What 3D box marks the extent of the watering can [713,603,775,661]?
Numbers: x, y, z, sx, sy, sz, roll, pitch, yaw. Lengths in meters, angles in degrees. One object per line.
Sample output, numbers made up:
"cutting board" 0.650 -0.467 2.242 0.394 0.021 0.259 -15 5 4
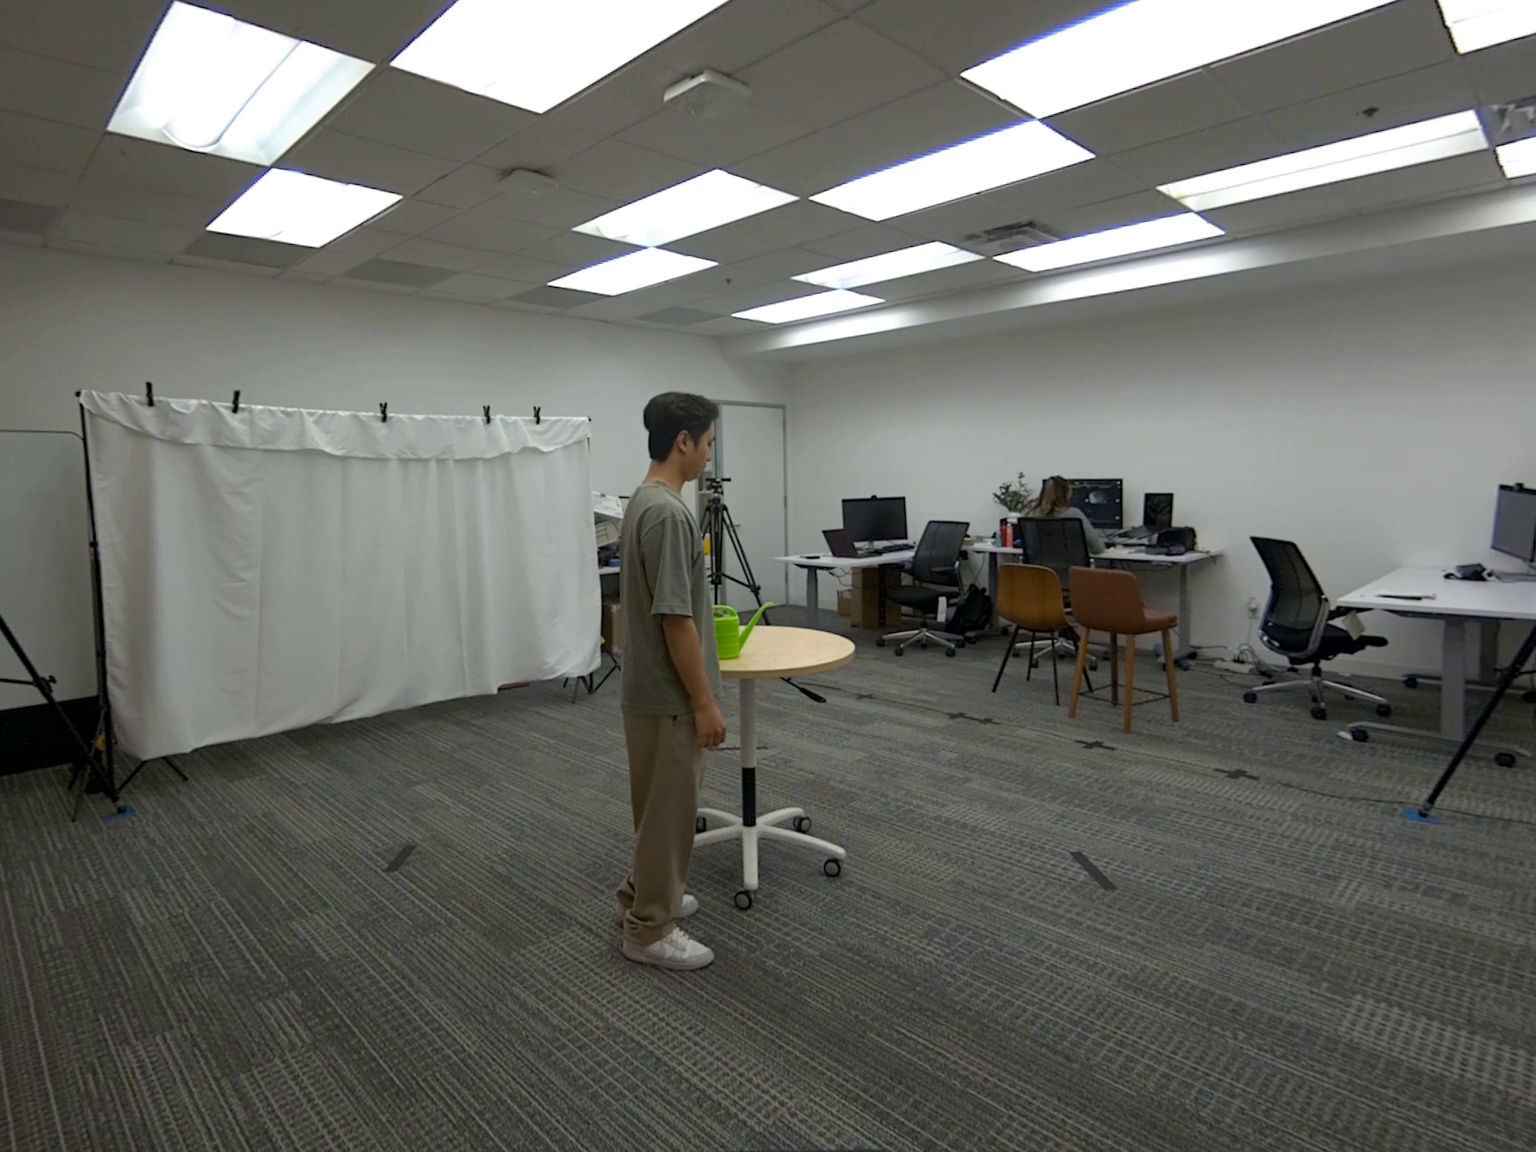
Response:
"watering can" -0.112 0.189 2.873 0.278 0.176 0.098 -1 3 -1
